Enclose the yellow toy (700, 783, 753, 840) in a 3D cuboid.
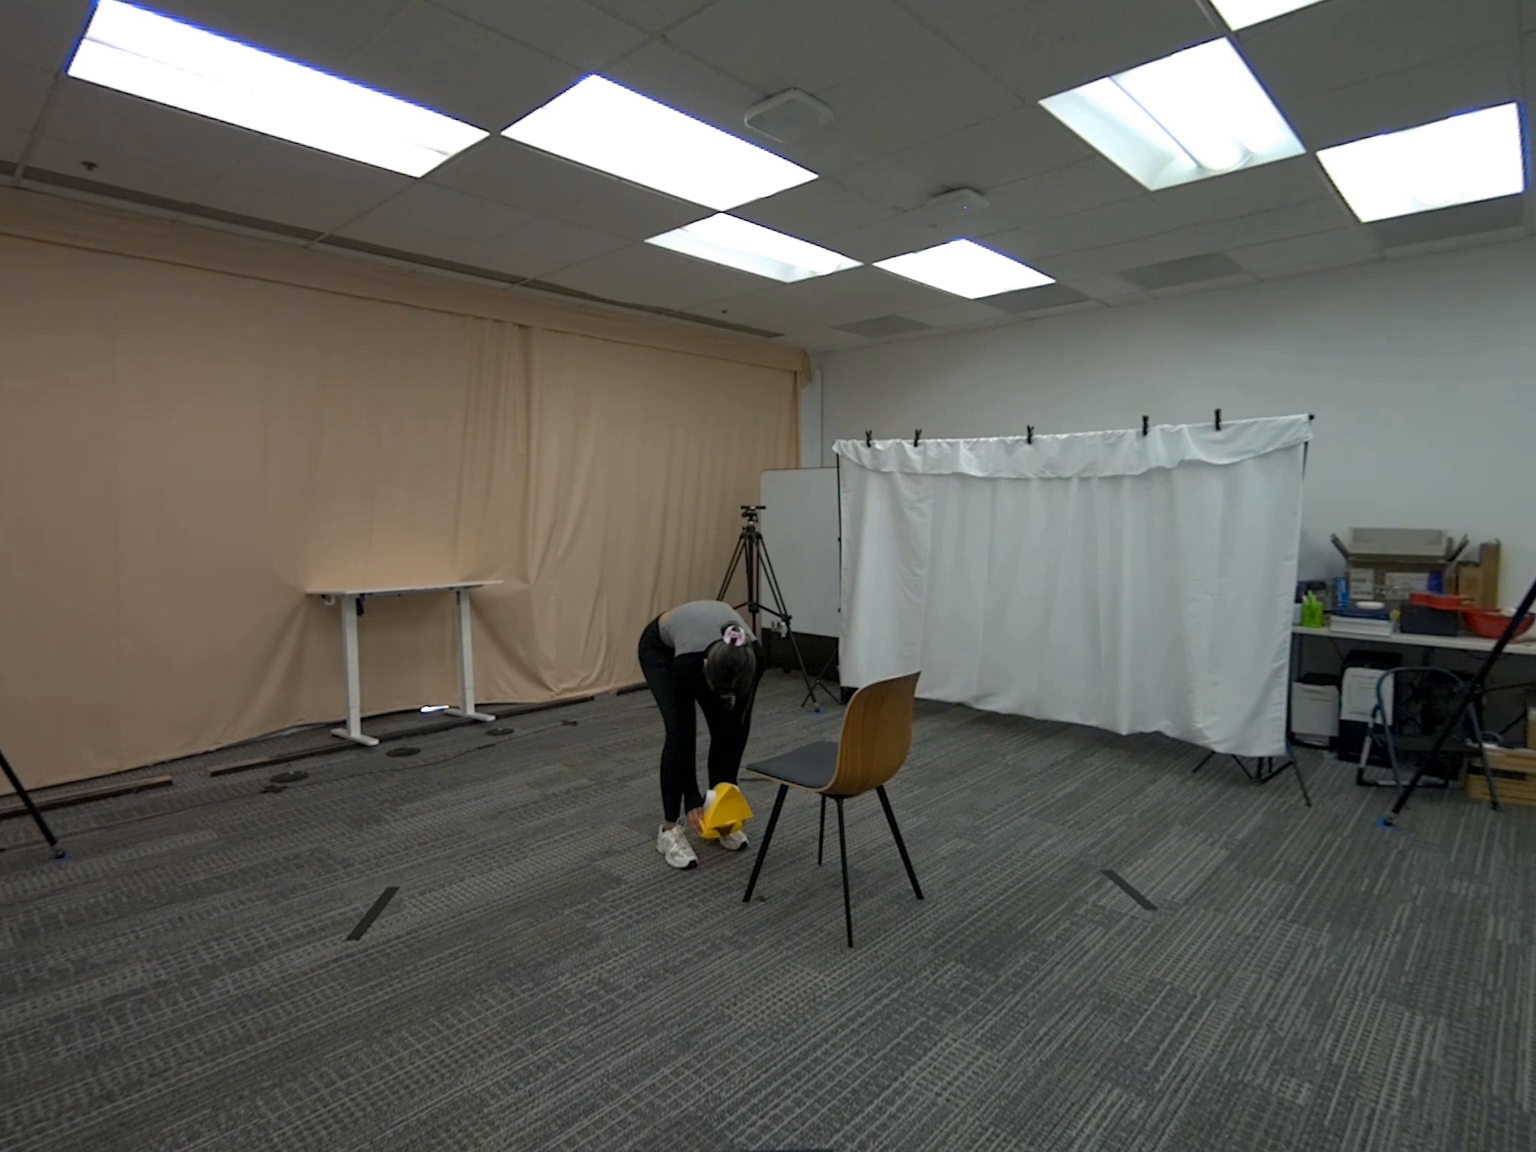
[{"bbox_3d":[-0.182,0.857,3.241,0.199,0.228,0.200,-5,27,-32],"label":"yellow toy"}]
